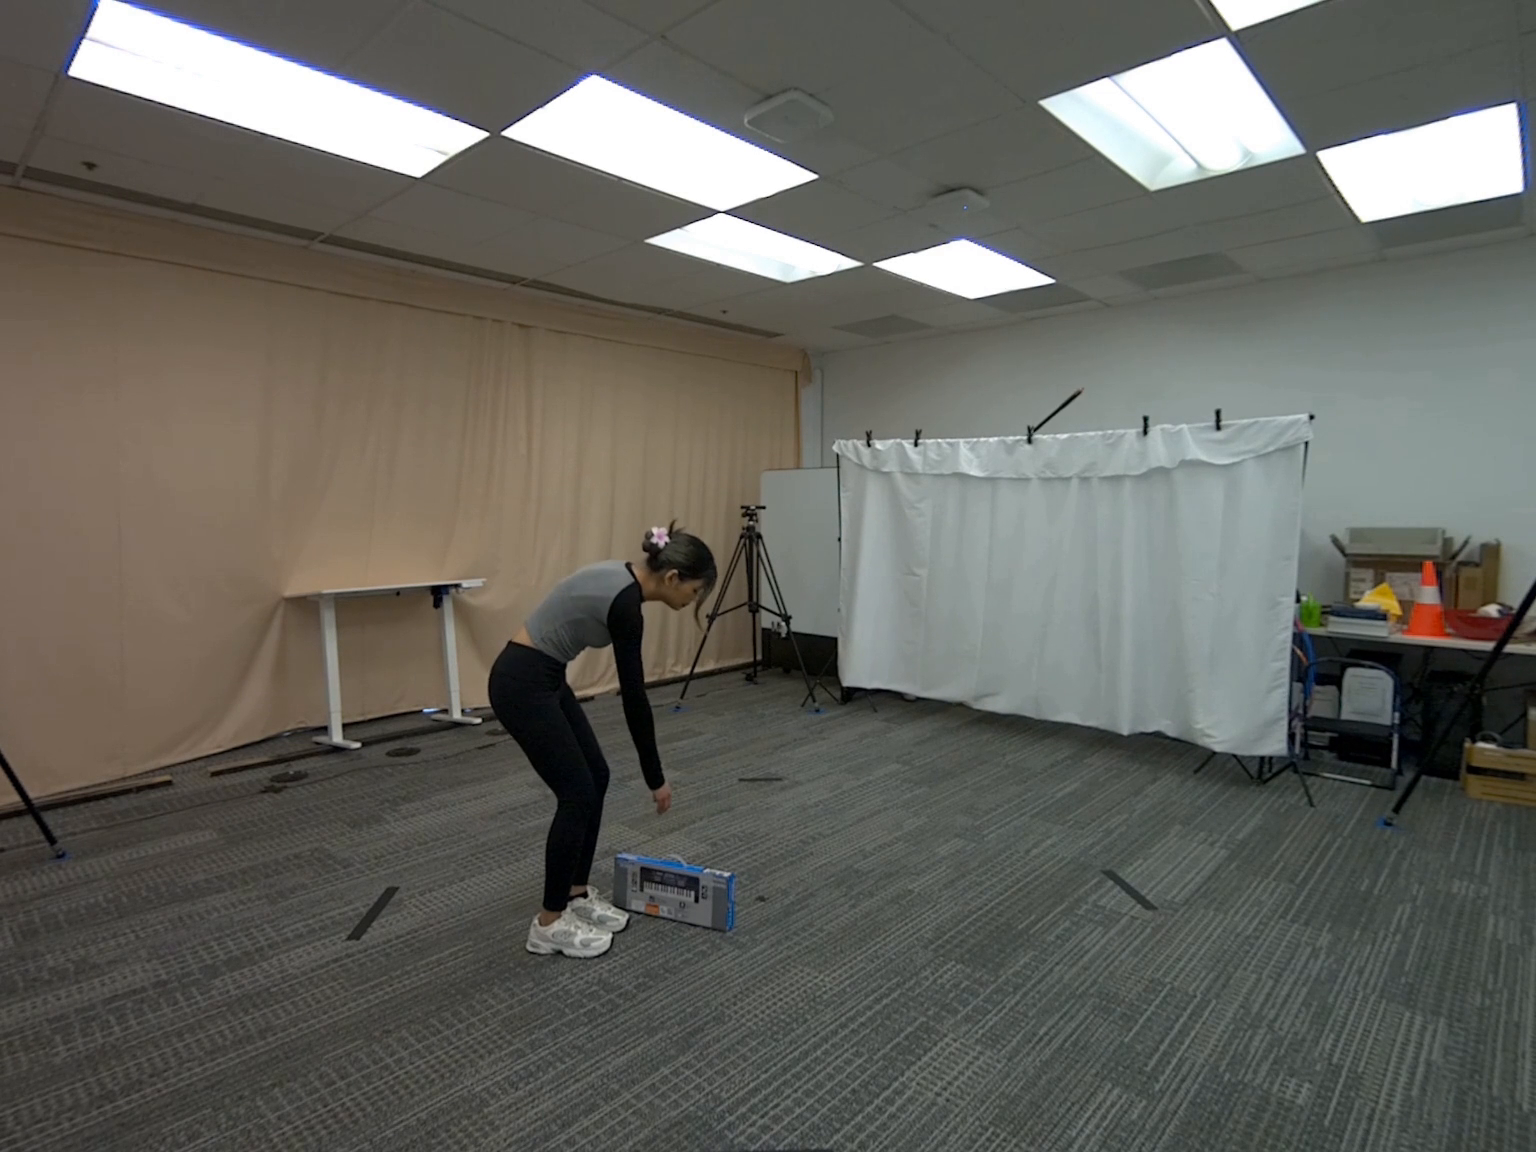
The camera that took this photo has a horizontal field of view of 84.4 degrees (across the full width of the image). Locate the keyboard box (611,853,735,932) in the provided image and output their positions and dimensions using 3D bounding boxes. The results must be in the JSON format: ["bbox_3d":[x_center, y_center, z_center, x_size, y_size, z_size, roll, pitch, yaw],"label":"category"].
[{"bbox_3d":[-0.322,1.069,2.855,0.447,0.176,0.057,1,-3,24],"label":"keyboard box"}]
